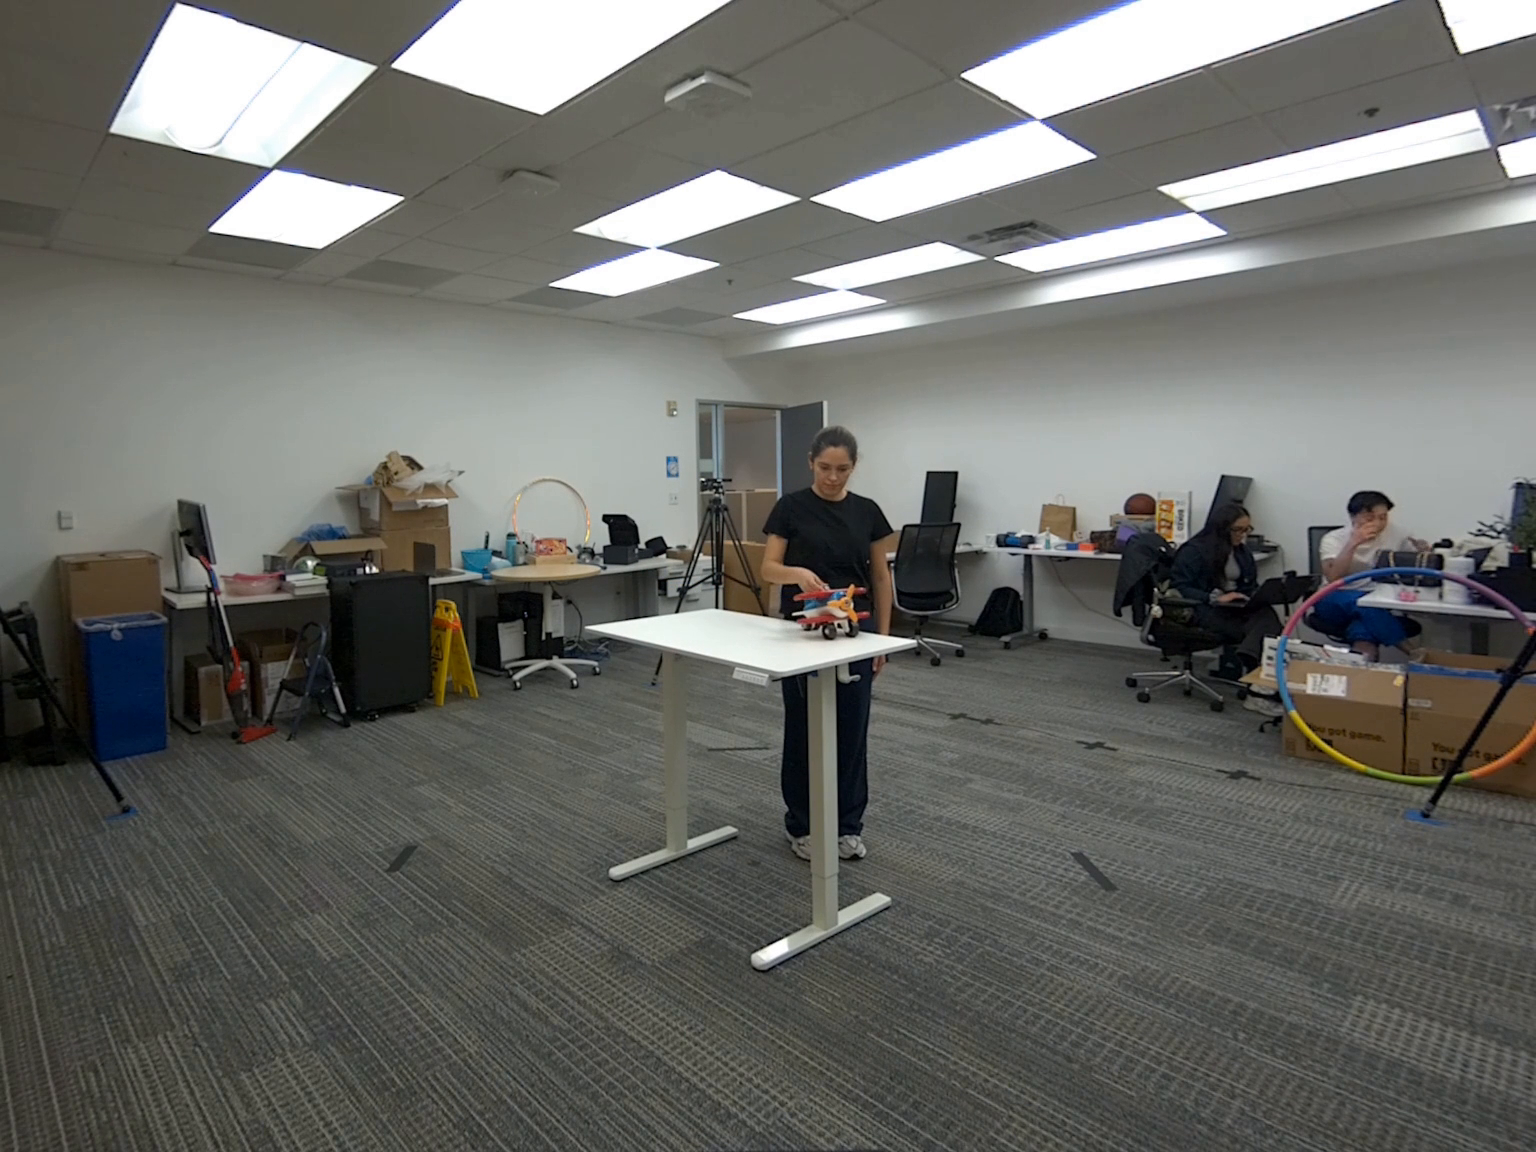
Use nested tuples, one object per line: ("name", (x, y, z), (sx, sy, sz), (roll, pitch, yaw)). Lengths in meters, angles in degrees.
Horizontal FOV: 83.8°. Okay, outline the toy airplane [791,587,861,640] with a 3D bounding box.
("toy airplane", (0.174, 0.118, 2.812), (0.267, 0.156, 0.245), (3, 7, 35))
